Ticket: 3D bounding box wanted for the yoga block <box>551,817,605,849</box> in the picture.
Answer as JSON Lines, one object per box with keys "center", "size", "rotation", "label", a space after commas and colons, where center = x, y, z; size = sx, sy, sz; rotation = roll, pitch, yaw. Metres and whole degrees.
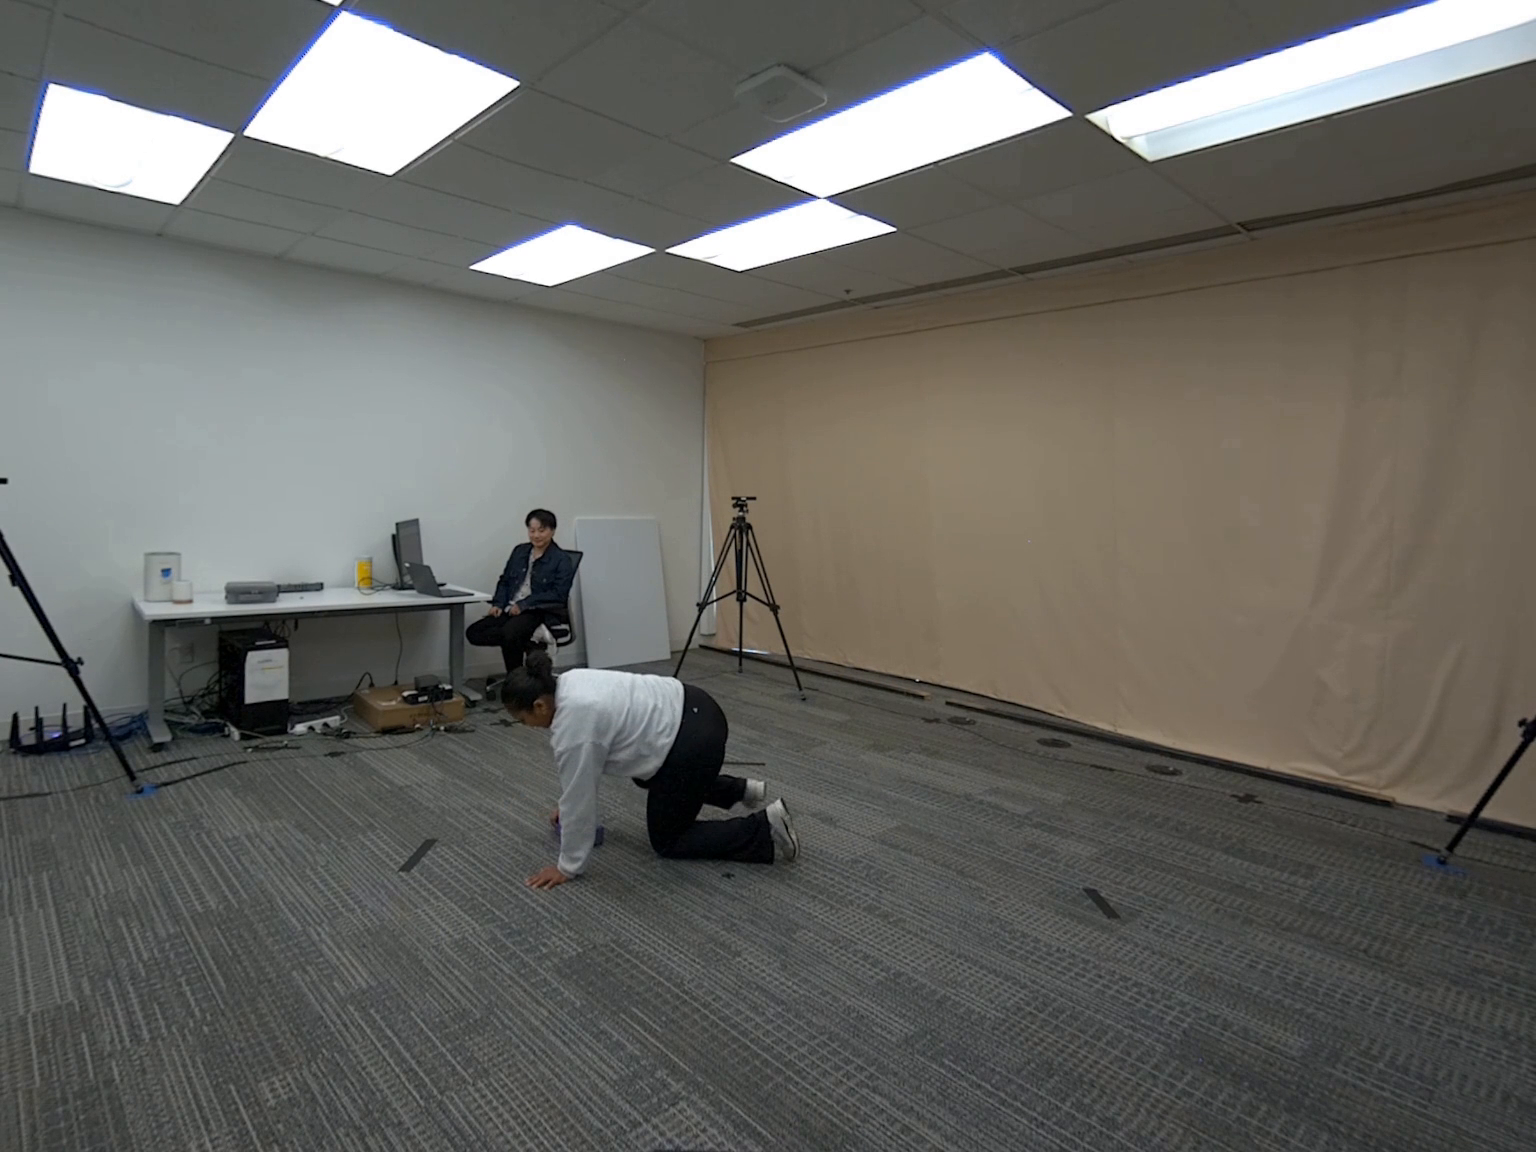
{"center": [-0.786, 1.031, 3.419], "size": [0.146, 0.076, 0.234], "rotation": [-6, 6, -28], "label": "yoga block"}
